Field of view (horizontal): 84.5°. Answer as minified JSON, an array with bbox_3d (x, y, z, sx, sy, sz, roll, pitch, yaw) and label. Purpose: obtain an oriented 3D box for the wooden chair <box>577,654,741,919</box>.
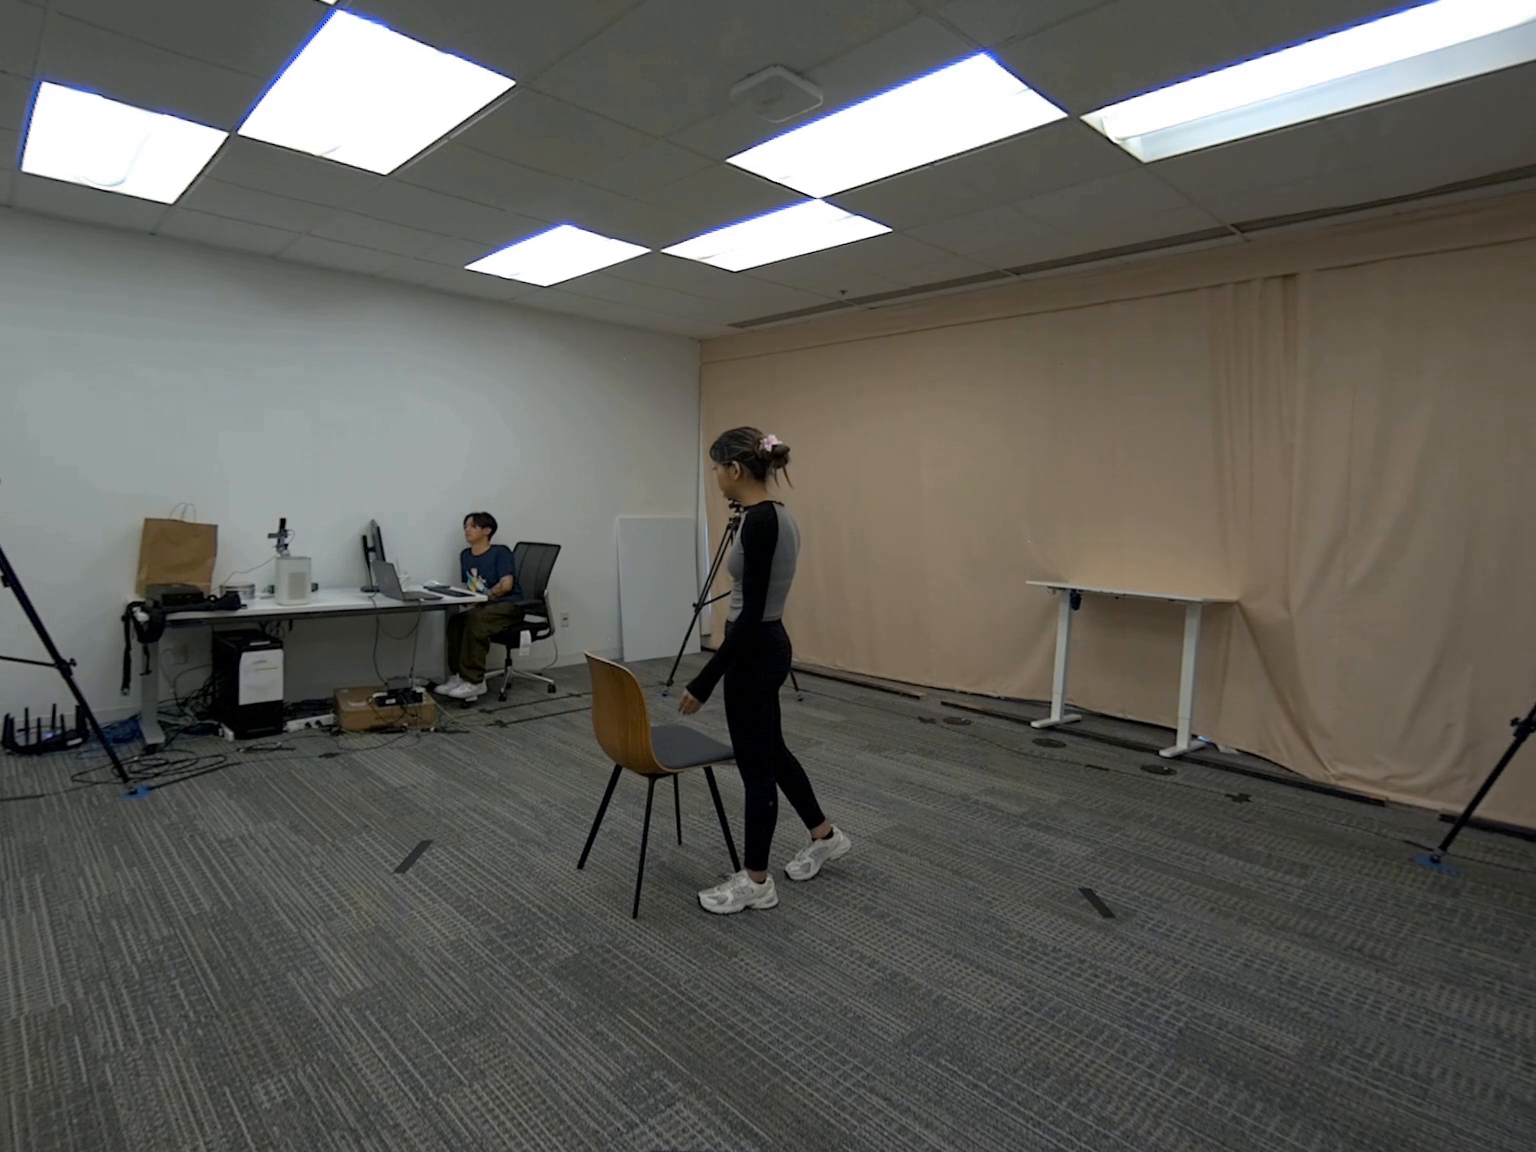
[{"bbox_3d":[-0.385,0.678,3.058,0.513,0.874,0.490,-6,7,-36],"label":"wooden chair"}]
